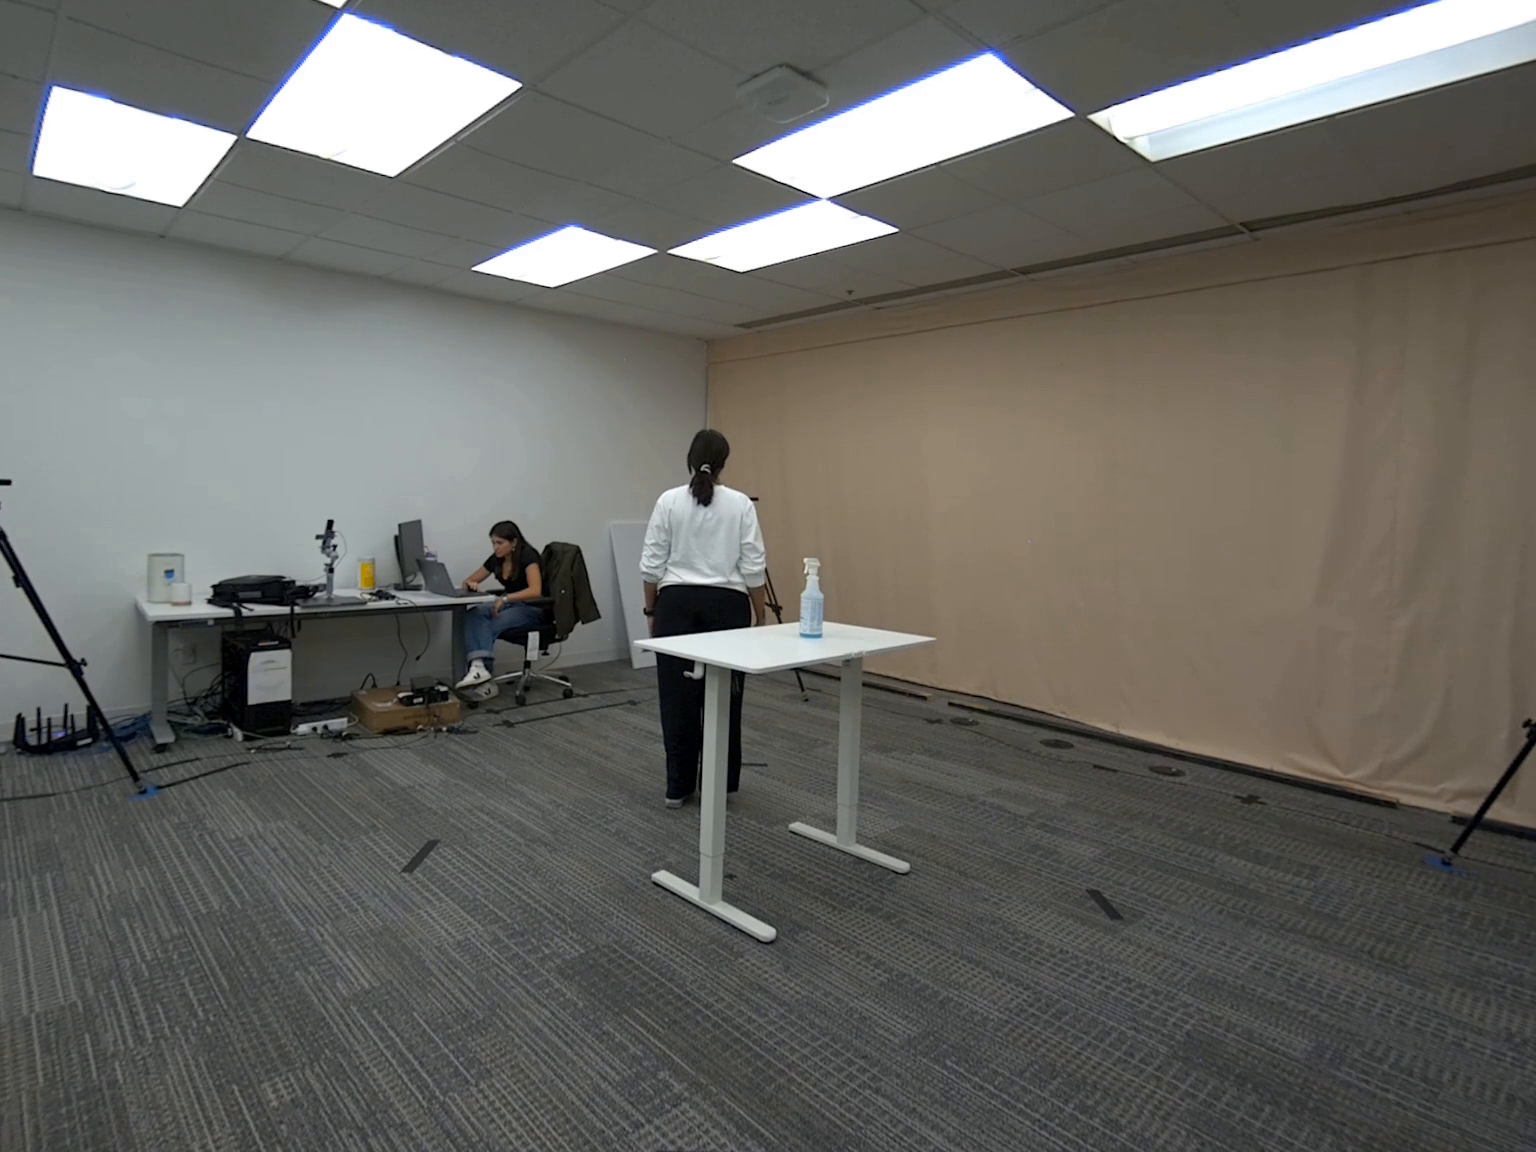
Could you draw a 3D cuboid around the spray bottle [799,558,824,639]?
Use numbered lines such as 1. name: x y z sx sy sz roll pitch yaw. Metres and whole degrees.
1. spray bottle: 0.157 0.082 3.163 0.088 0.296 0.089 -1 4 -23
